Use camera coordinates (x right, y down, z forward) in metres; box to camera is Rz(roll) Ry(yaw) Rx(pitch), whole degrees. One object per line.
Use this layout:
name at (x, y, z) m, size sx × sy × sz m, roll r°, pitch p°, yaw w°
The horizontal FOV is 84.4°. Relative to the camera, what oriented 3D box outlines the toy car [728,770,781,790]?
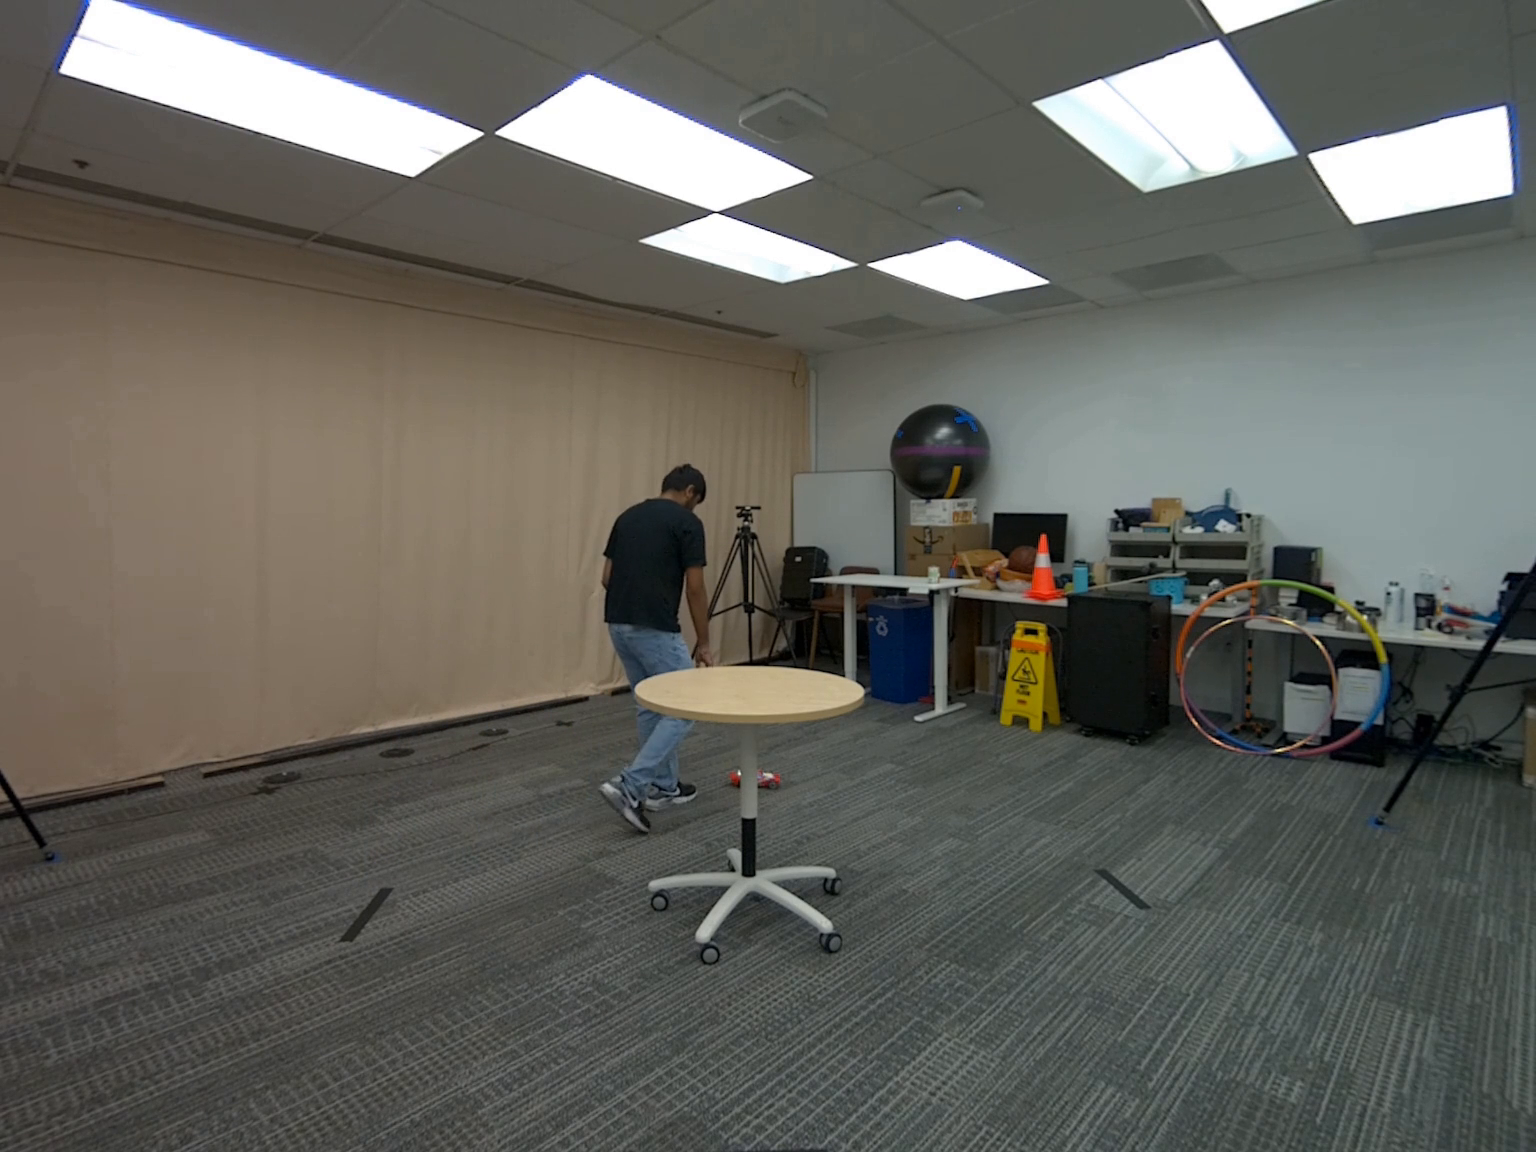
toy car at (-0.069, 1.016, 4.215) m, size 0.256 × 0.083 × 0.129 m, roll 11°, pitch 5°, yaw 5°
